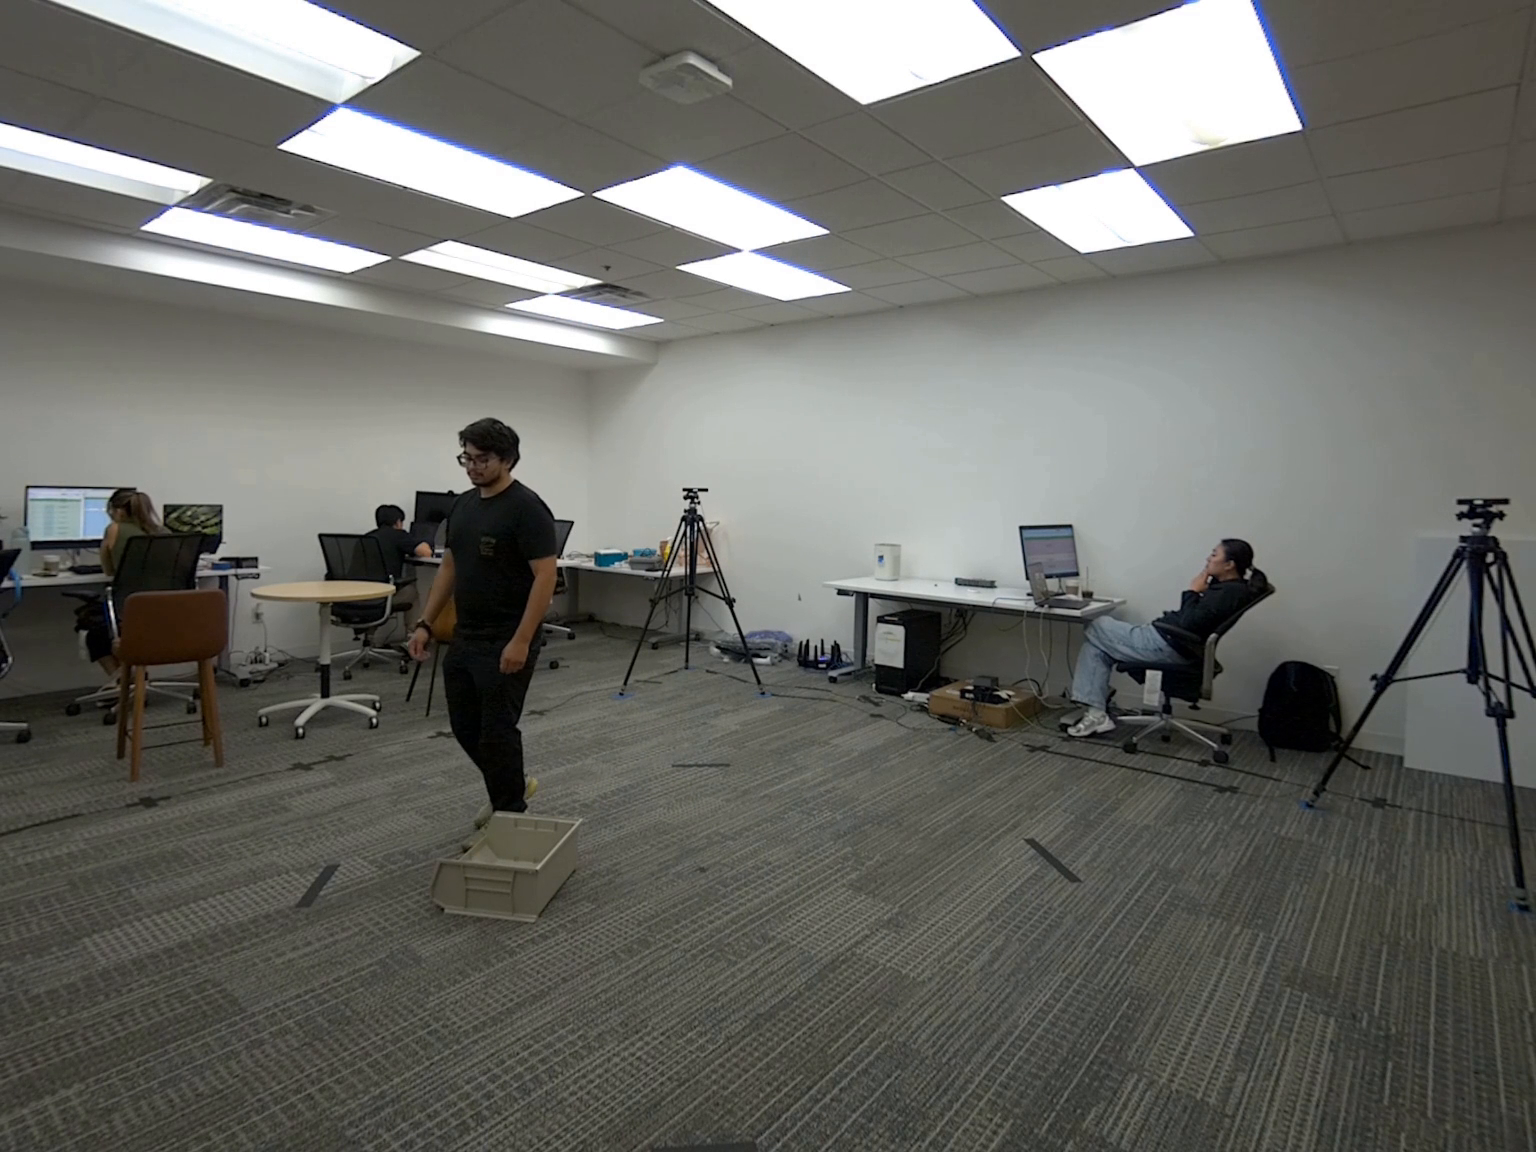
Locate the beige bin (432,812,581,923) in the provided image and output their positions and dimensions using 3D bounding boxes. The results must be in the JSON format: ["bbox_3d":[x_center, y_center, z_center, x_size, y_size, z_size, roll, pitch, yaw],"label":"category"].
[{"bbox_3d":[-0.902,0.988,2.927,0.381,0.188,0.419,3,5,8],"label":"beige bin"}]
